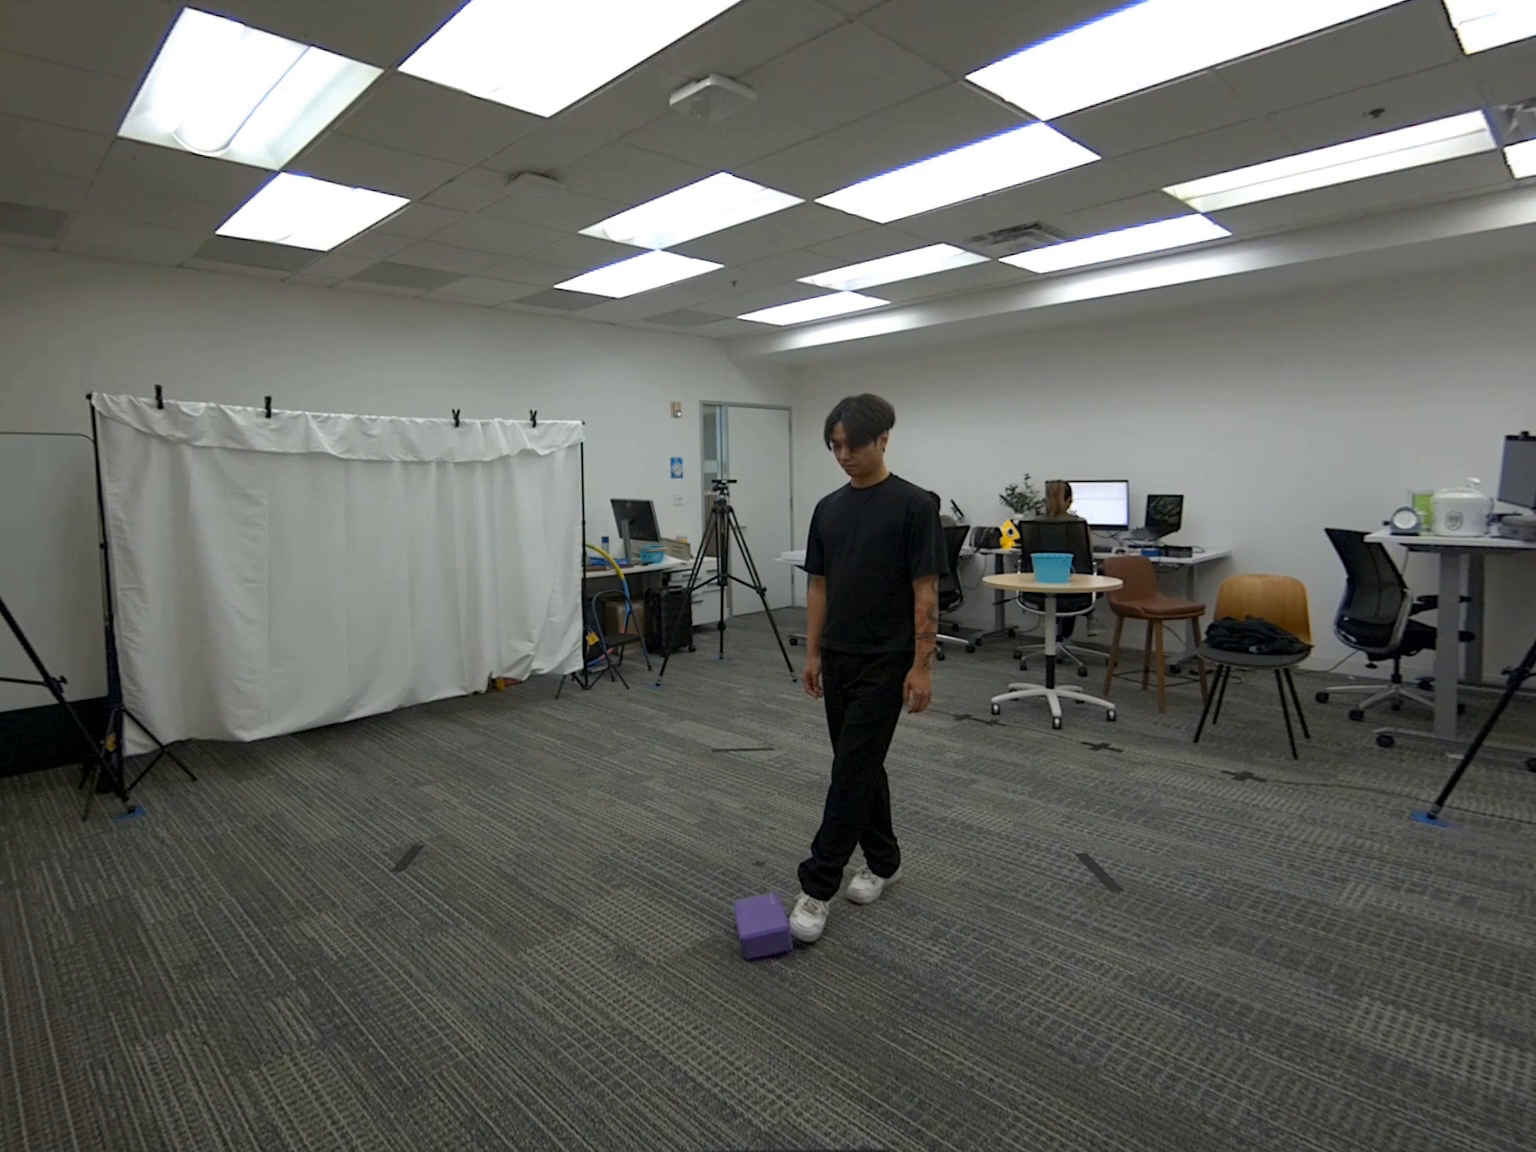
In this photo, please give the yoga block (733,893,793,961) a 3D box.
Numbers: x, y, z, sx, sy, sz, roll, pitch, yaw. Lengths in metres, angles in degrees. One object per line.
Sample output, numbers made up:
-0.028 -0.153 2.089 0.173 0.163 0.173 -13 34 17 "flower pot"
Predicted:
-0.016 1.060 2.587 0.148 0.076 0.232 -8 8 -6 "yoga block"
